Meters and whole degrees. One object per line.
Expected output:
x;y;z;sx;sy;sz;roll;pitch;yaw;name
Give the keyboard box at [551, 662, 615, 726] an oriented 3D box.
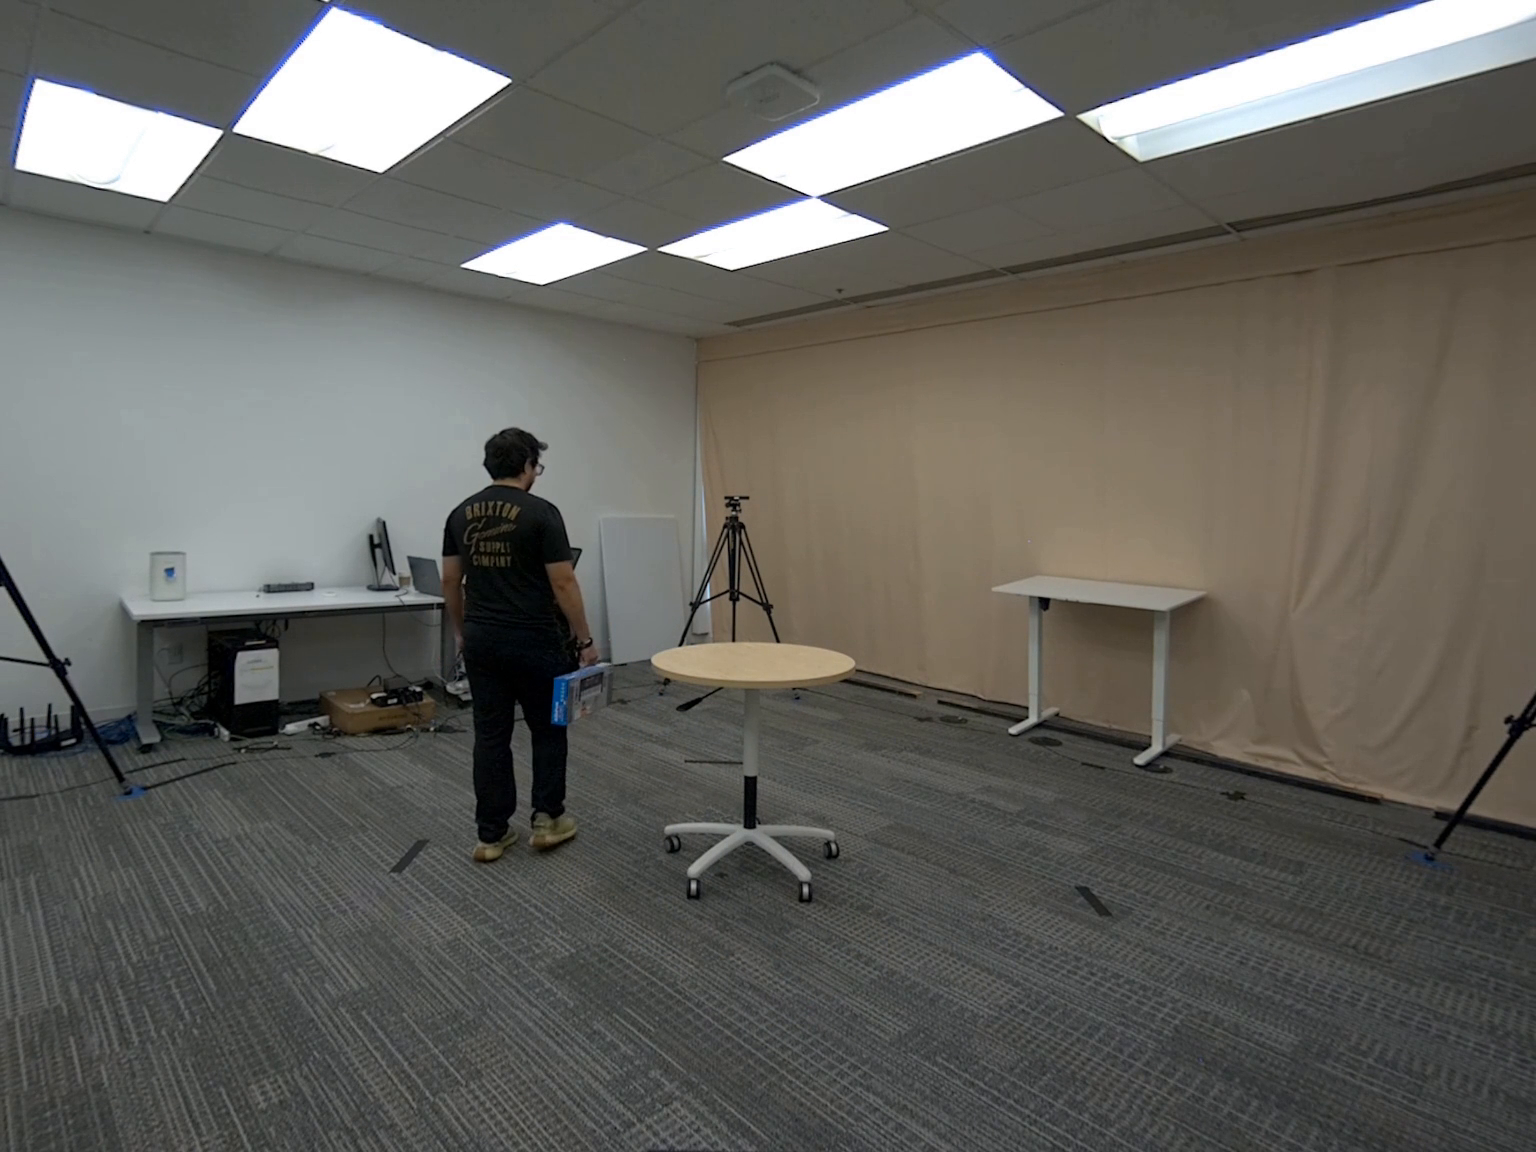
-0.721;0.449;3.316;0.060;0.176;0.432;4;0;12;keyboard box
